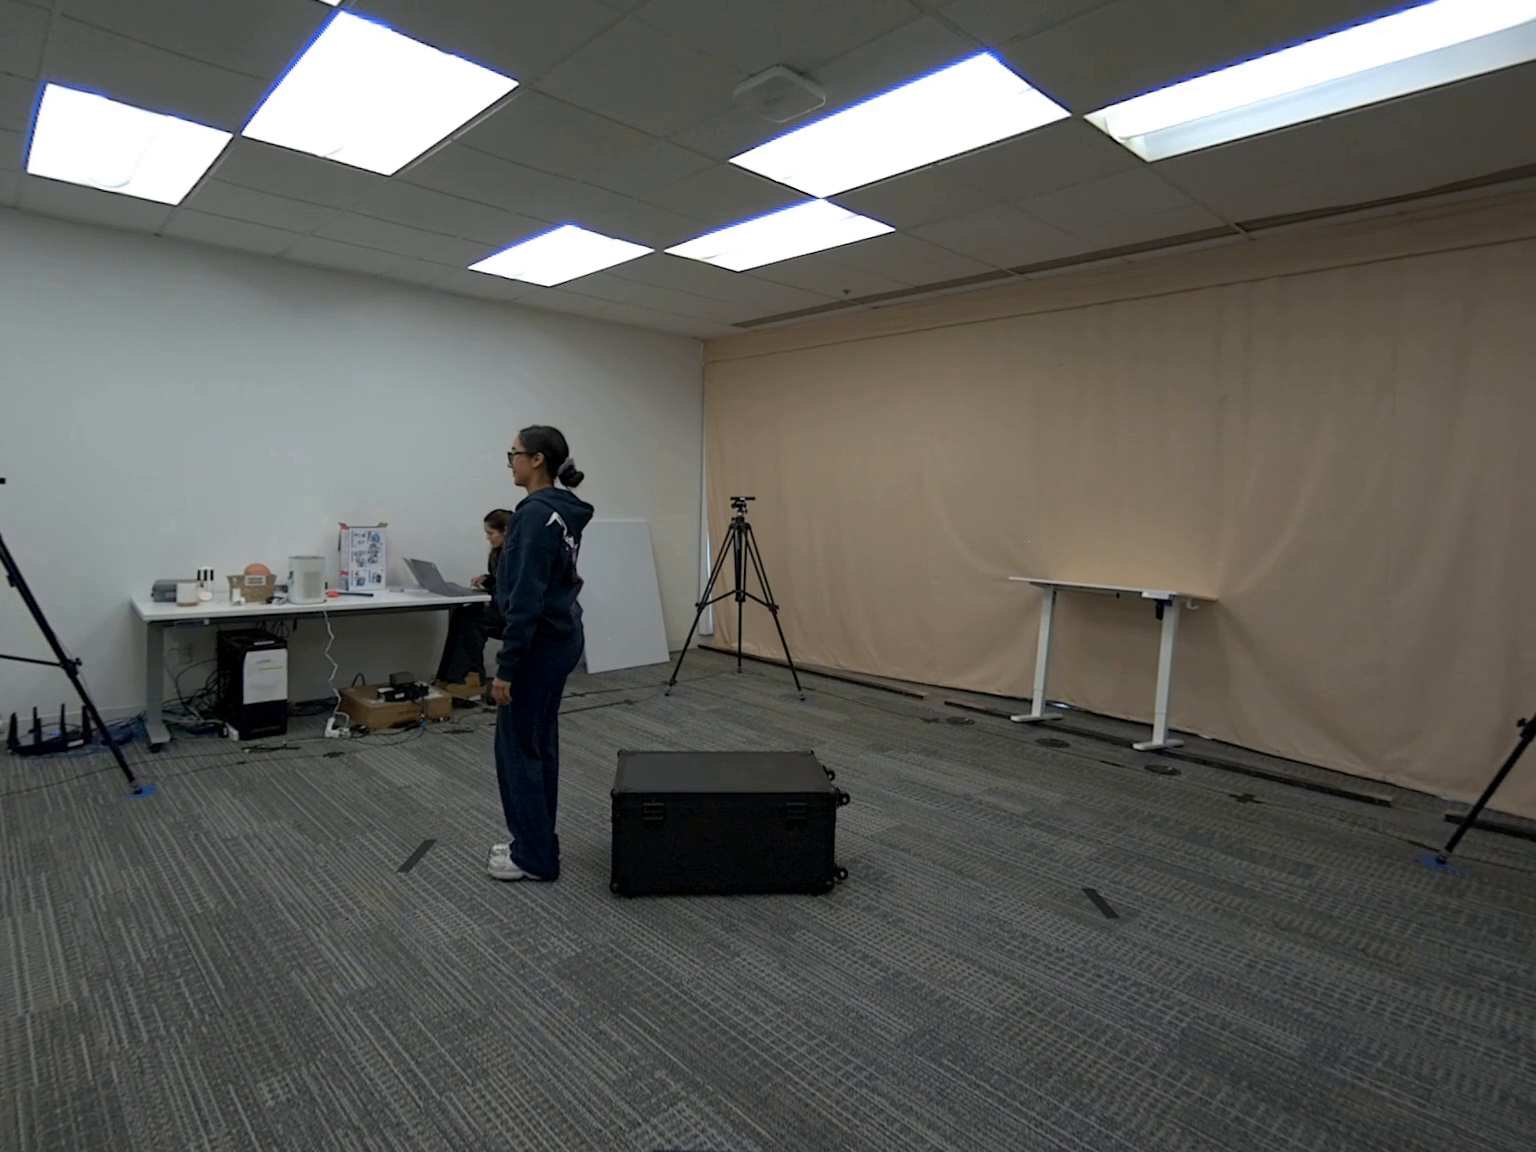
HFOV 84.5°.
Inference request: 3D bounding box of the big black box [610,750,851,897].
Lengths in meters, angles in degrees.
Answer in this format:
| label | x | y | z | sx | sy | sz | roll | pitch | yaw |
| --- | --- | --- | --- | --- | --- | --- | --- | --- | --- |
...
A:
| label | x | y | z | sx | sy | sz | roll | pitch | yaw |
| --- | --- | --- | --- | --- | --- | --- | --- | --- | --- |
| big black box | -0.152 | 0.902 | 3.157 | 0.857 | 0.395 | 0.525 | -1 | 4 | -6 |
